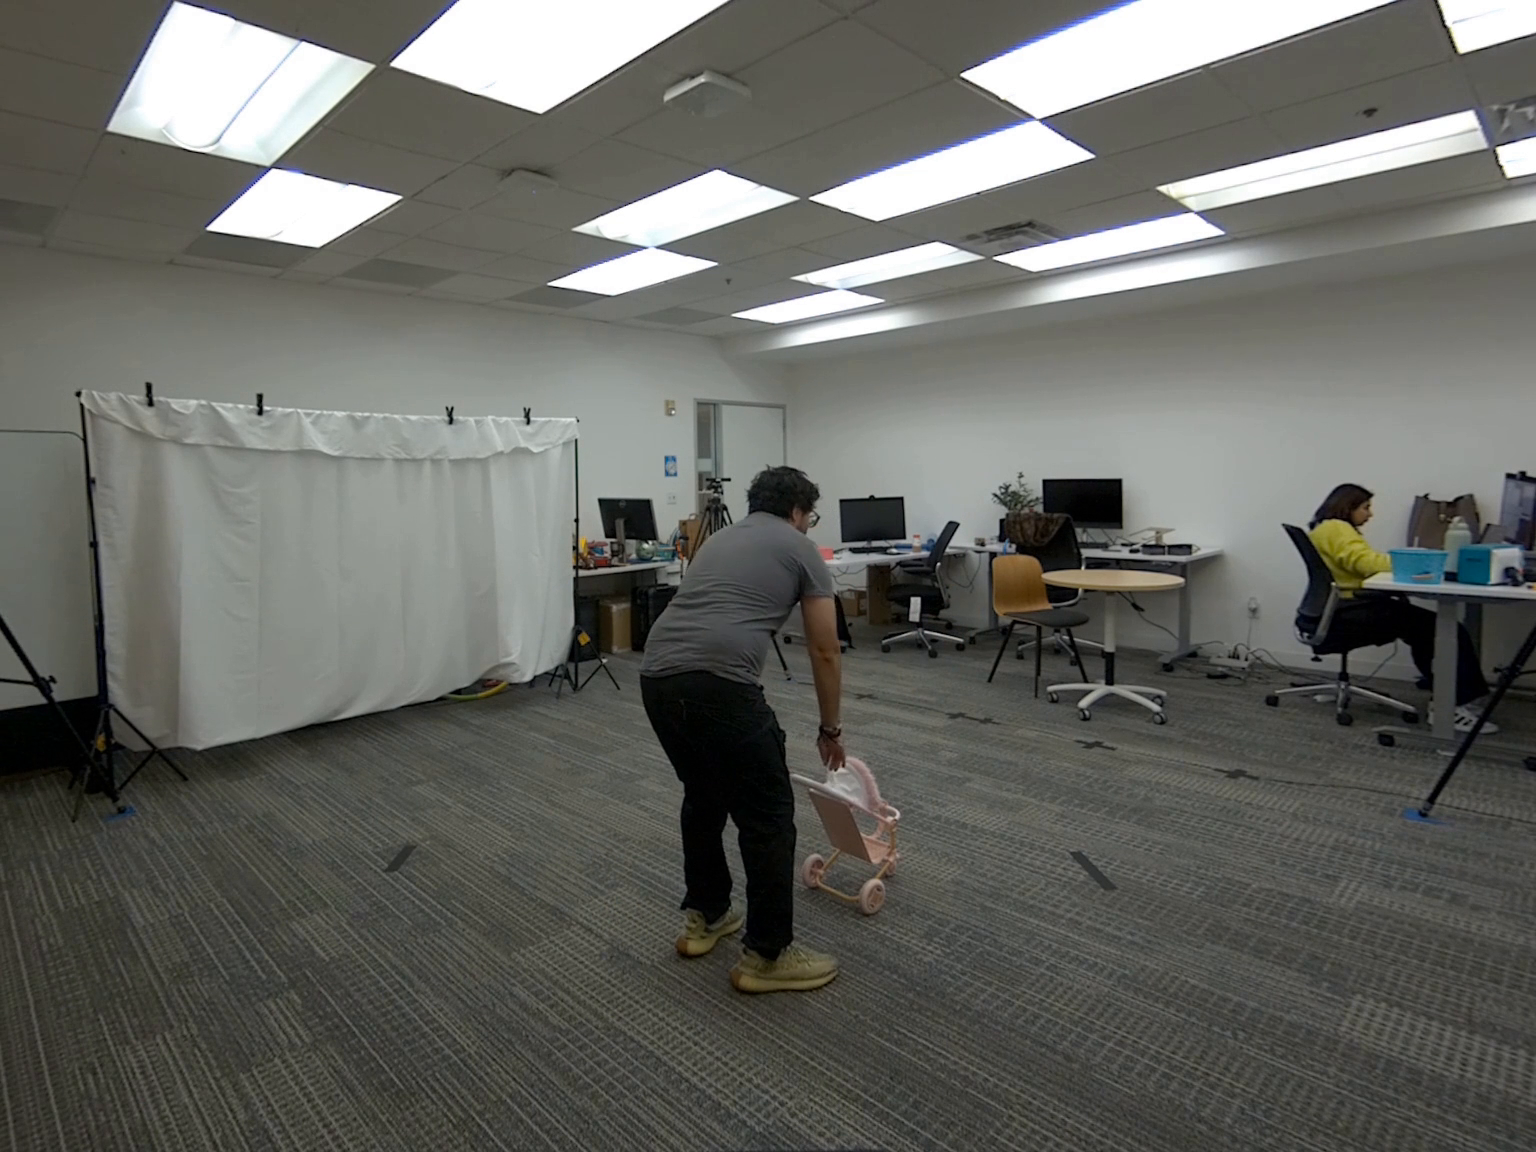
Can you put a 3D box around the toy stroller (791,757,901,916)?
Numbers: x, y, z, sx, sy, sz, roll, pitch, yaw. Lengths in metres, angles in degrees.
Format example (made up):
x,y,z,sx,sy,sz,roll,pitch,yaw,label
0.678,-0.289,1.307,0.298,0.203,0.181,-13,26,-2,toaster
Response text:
x,y,z,sx,sy,sz,roll,pitch,yaw,label
0.291,0.836,2.854,0.336,0.527,0.290,-22,17,-36,toy stroller
